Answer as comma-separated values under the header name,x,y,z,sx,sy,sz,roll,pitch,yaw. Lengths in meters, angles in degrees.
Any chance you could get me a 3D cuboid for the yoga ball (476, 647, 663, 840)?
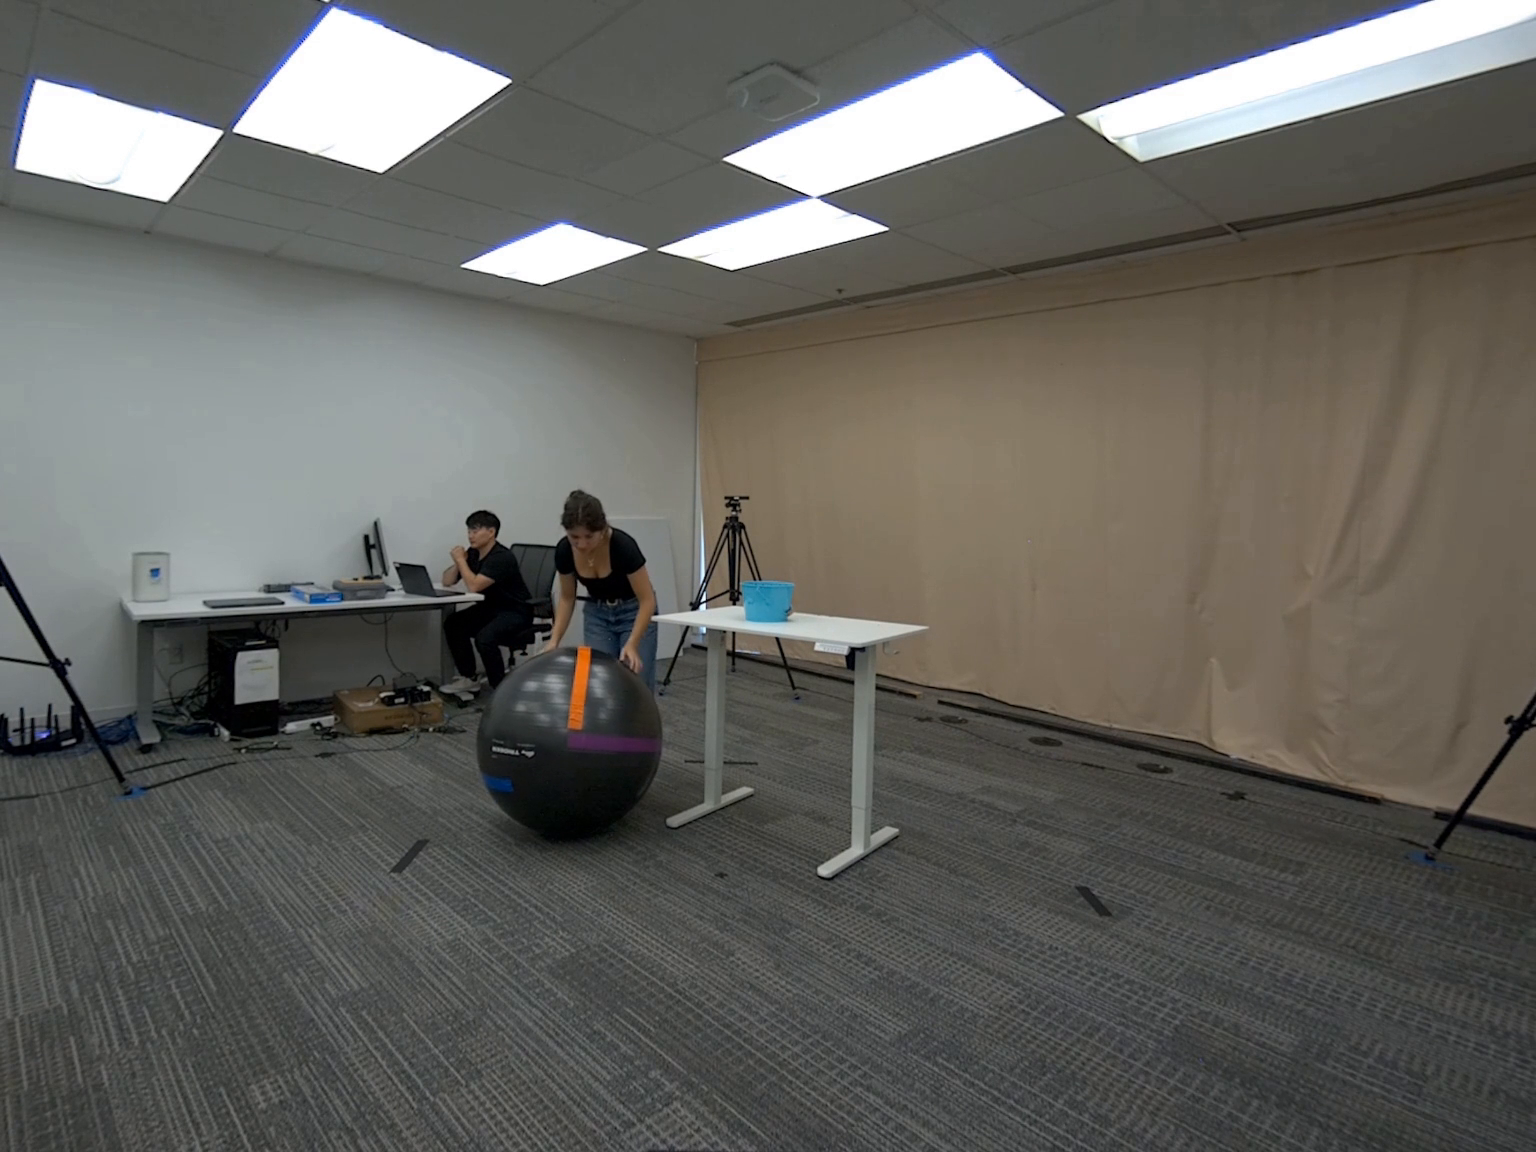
name,x,y,z,sx,sy,sz,roll,pitch,yaw
yoga ball,-0.840,0.692,3.497,0.757,0.756,0.761,1,4,-1
